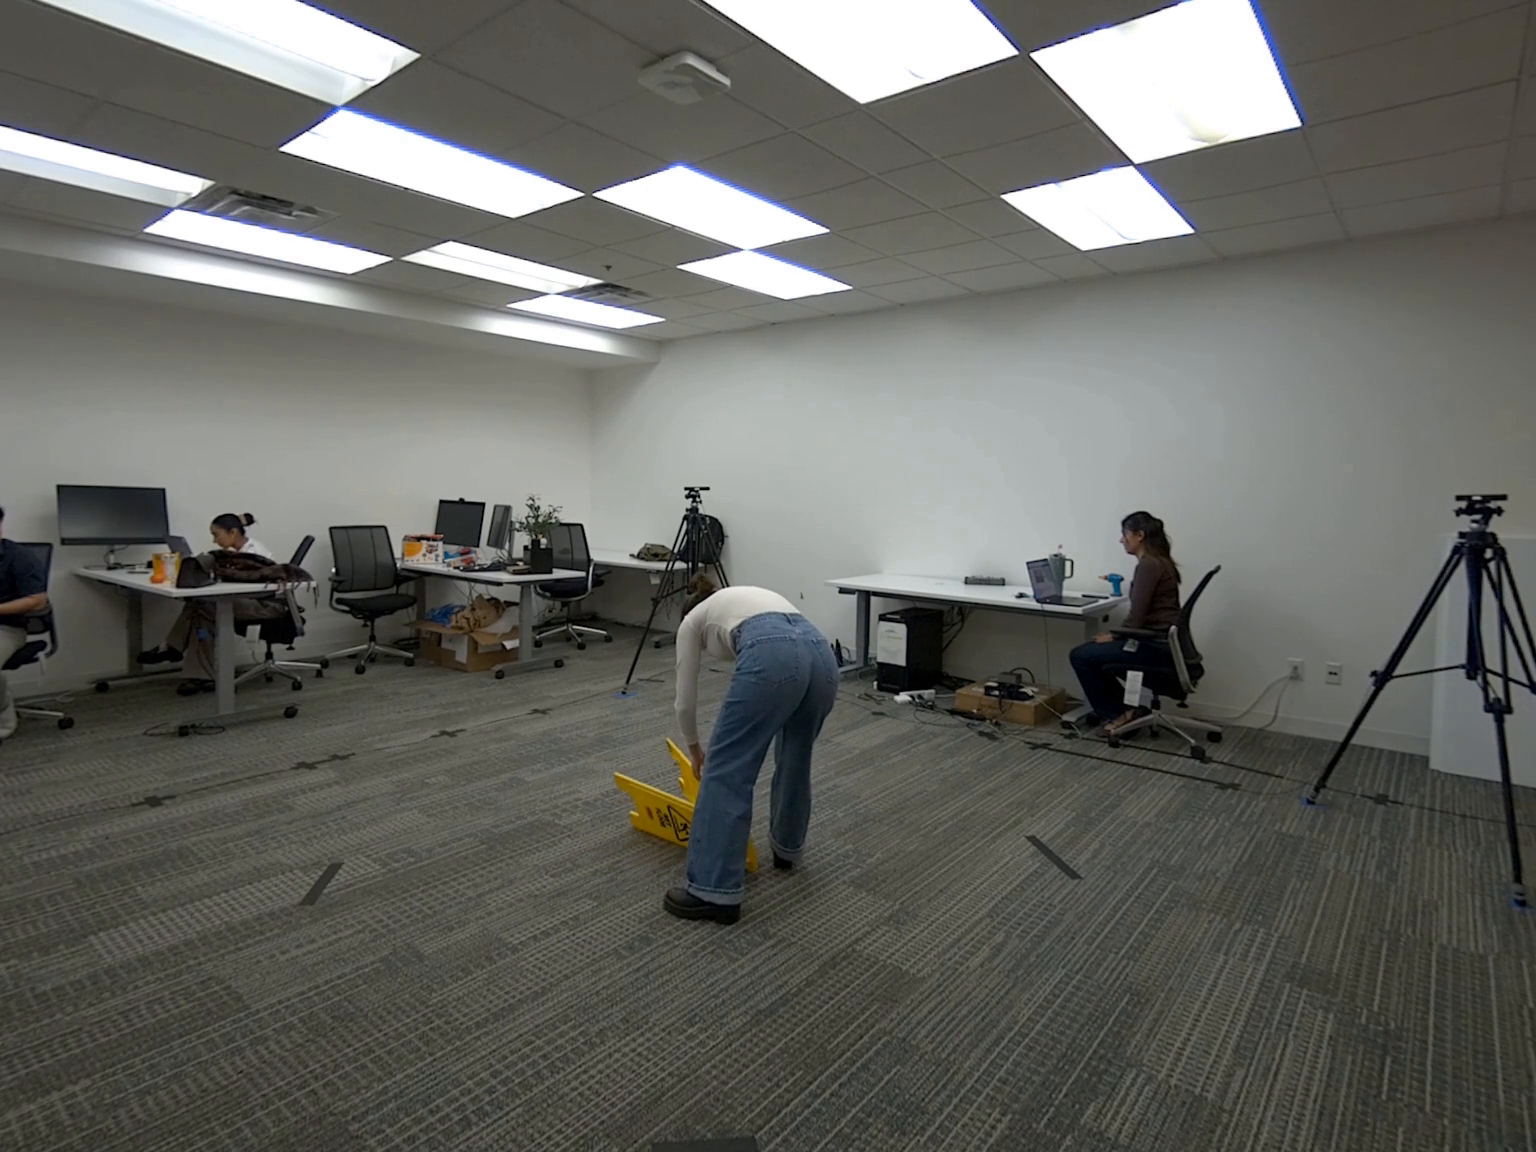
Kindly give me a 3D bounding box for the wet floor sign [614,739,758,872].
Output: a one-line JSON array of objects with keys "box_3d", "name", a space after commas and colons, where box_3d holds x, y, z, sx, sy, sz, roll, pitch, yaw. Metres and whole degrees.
[{"box_3d": [-0.285, 0.912, 3.267, 0.286, 0.275, 0.671, -29, 28, -32], "name": "wet floor sign"}]
